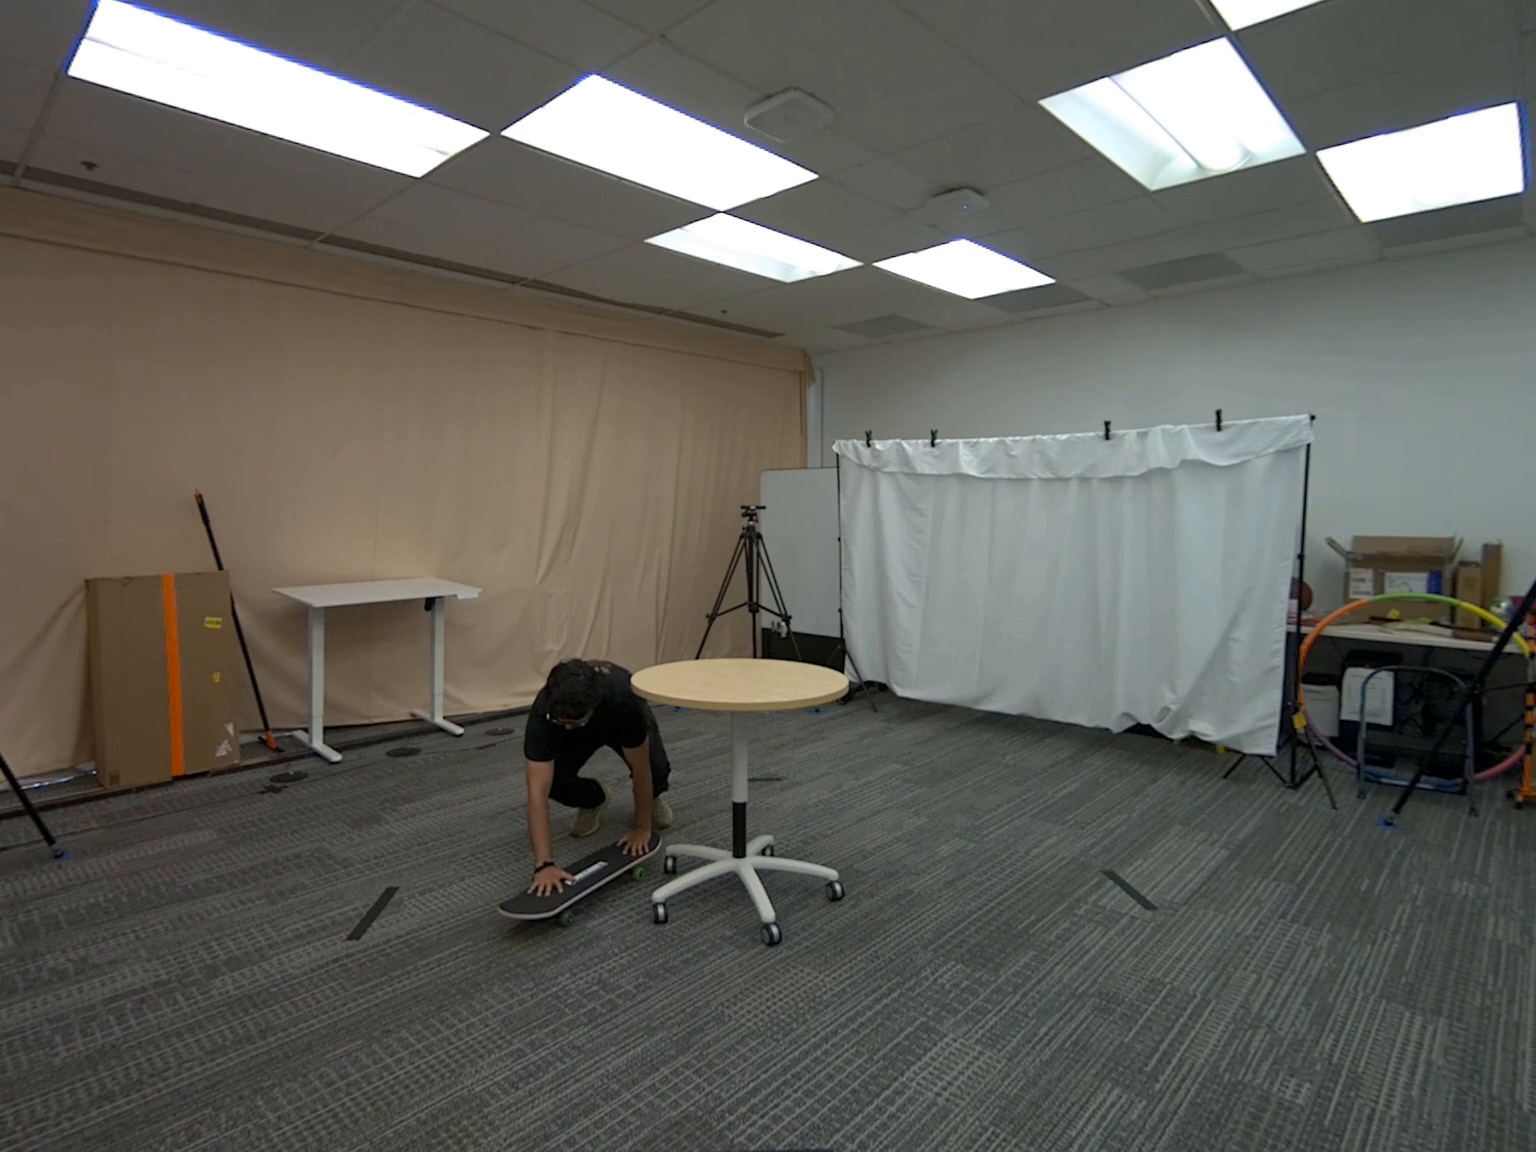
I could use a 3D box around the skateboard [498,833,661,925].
[{"bbox_3d":[-0.636,1.084,3.003,0.199,0.110,0.764,1,5,30],"label":"skateboard"}]
